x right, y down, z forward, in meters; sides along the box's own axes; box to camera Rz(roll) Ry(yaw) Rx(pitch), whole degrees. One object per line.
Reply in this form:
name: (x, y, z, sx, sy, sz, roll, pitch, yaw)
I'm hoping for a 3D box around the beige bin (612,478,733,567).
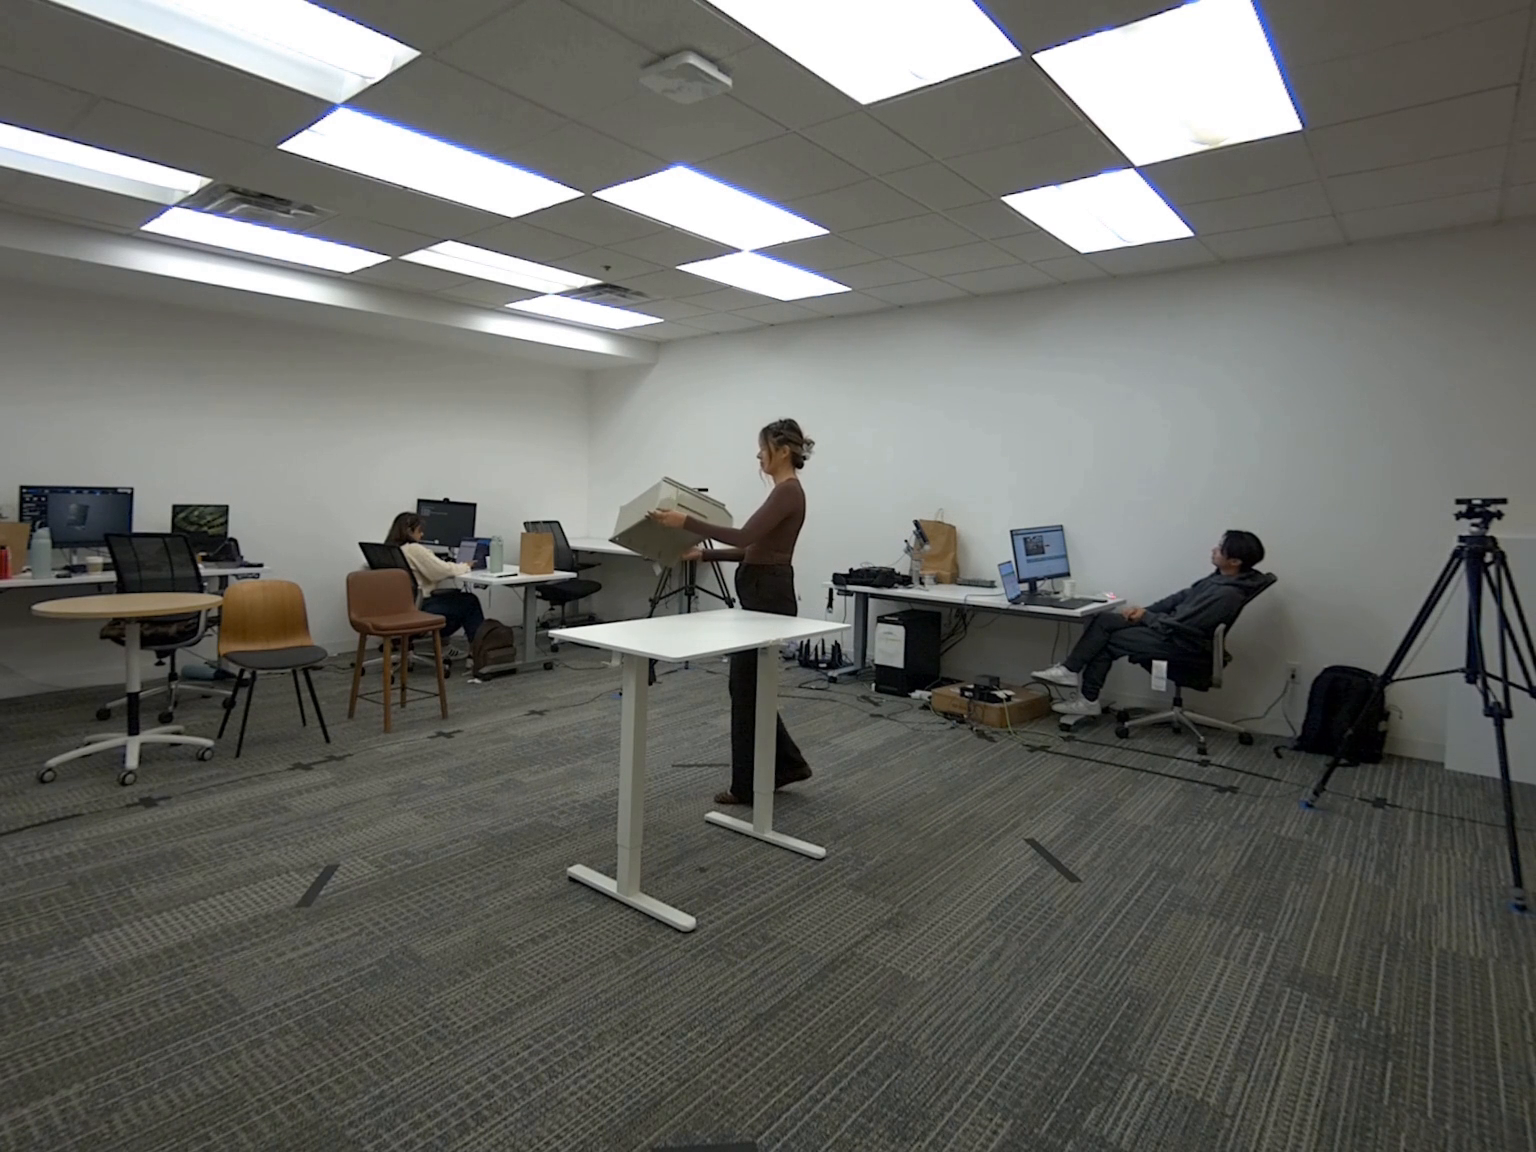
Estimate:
beige bin: (-0.437, -0.225, 3.743, 0.365, 0.192, 0.429, 25, -28, -28)
